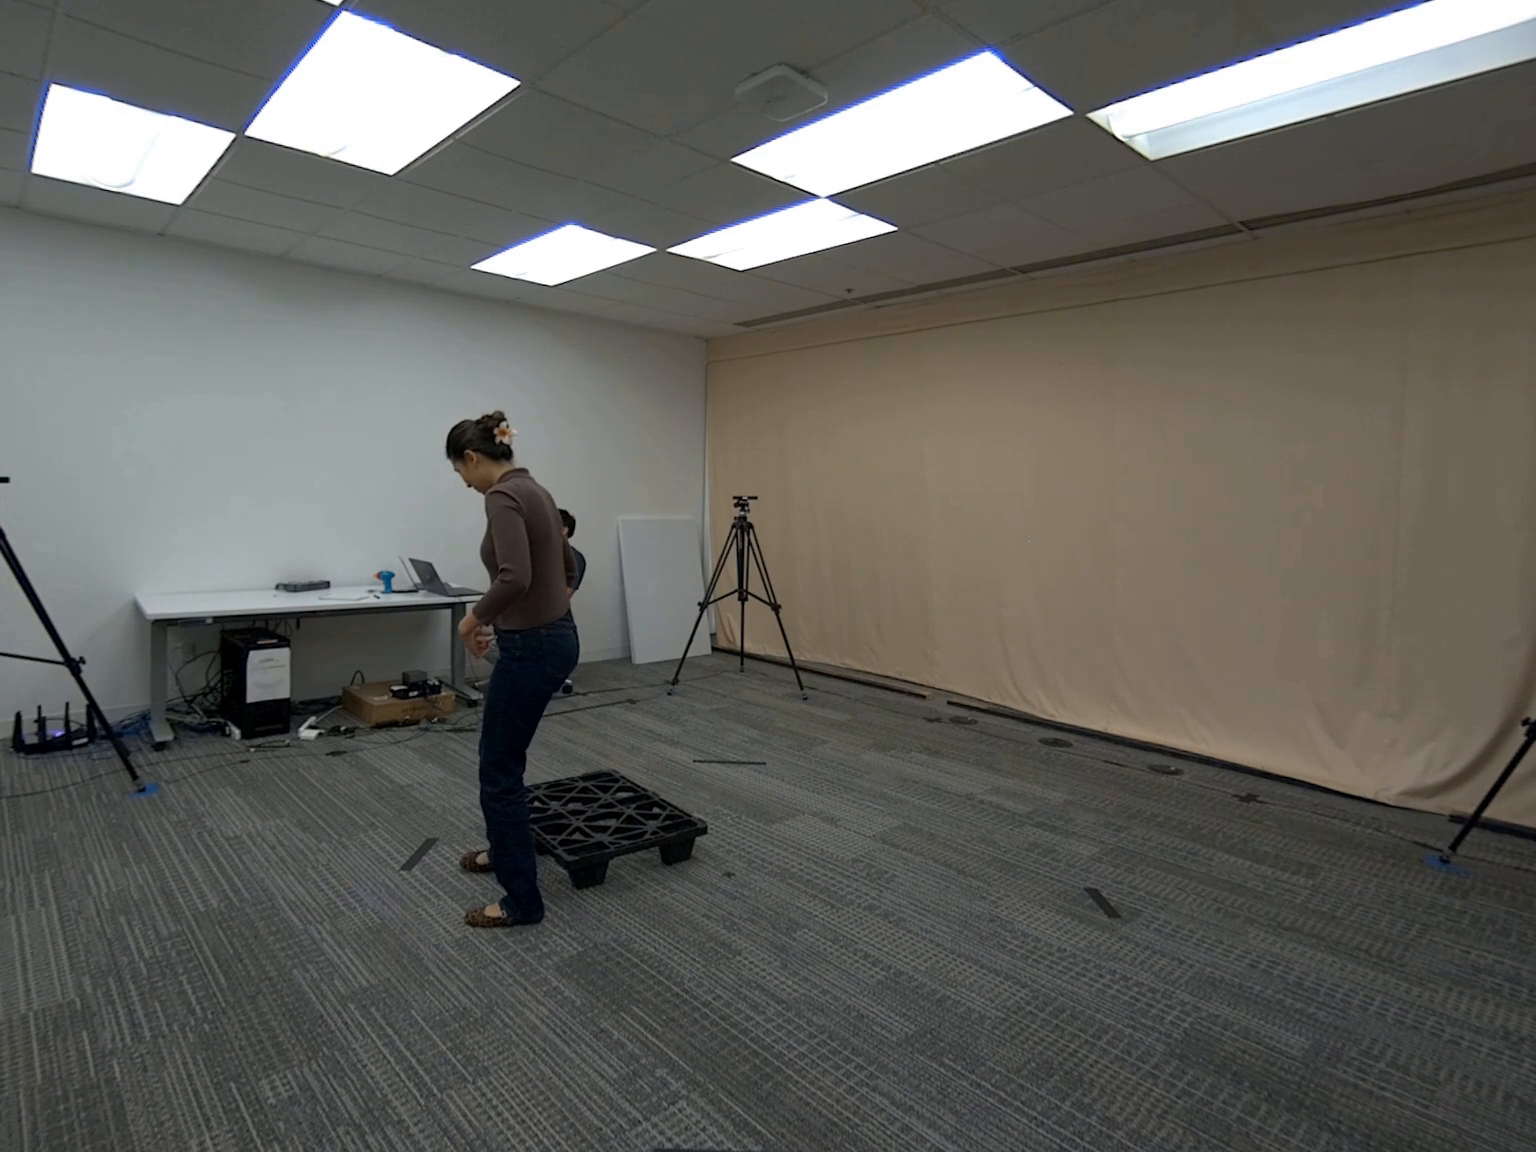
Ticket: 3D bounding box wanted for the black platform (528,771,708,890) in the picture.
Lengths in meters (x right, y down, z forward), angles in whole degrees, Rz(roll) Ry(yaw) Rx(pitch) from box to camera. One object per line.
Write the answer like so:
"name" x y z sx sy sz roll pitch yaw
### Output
"black platform" -0.710 0.999 3.385 0.591 0.143 0.826 -2 6 -37
